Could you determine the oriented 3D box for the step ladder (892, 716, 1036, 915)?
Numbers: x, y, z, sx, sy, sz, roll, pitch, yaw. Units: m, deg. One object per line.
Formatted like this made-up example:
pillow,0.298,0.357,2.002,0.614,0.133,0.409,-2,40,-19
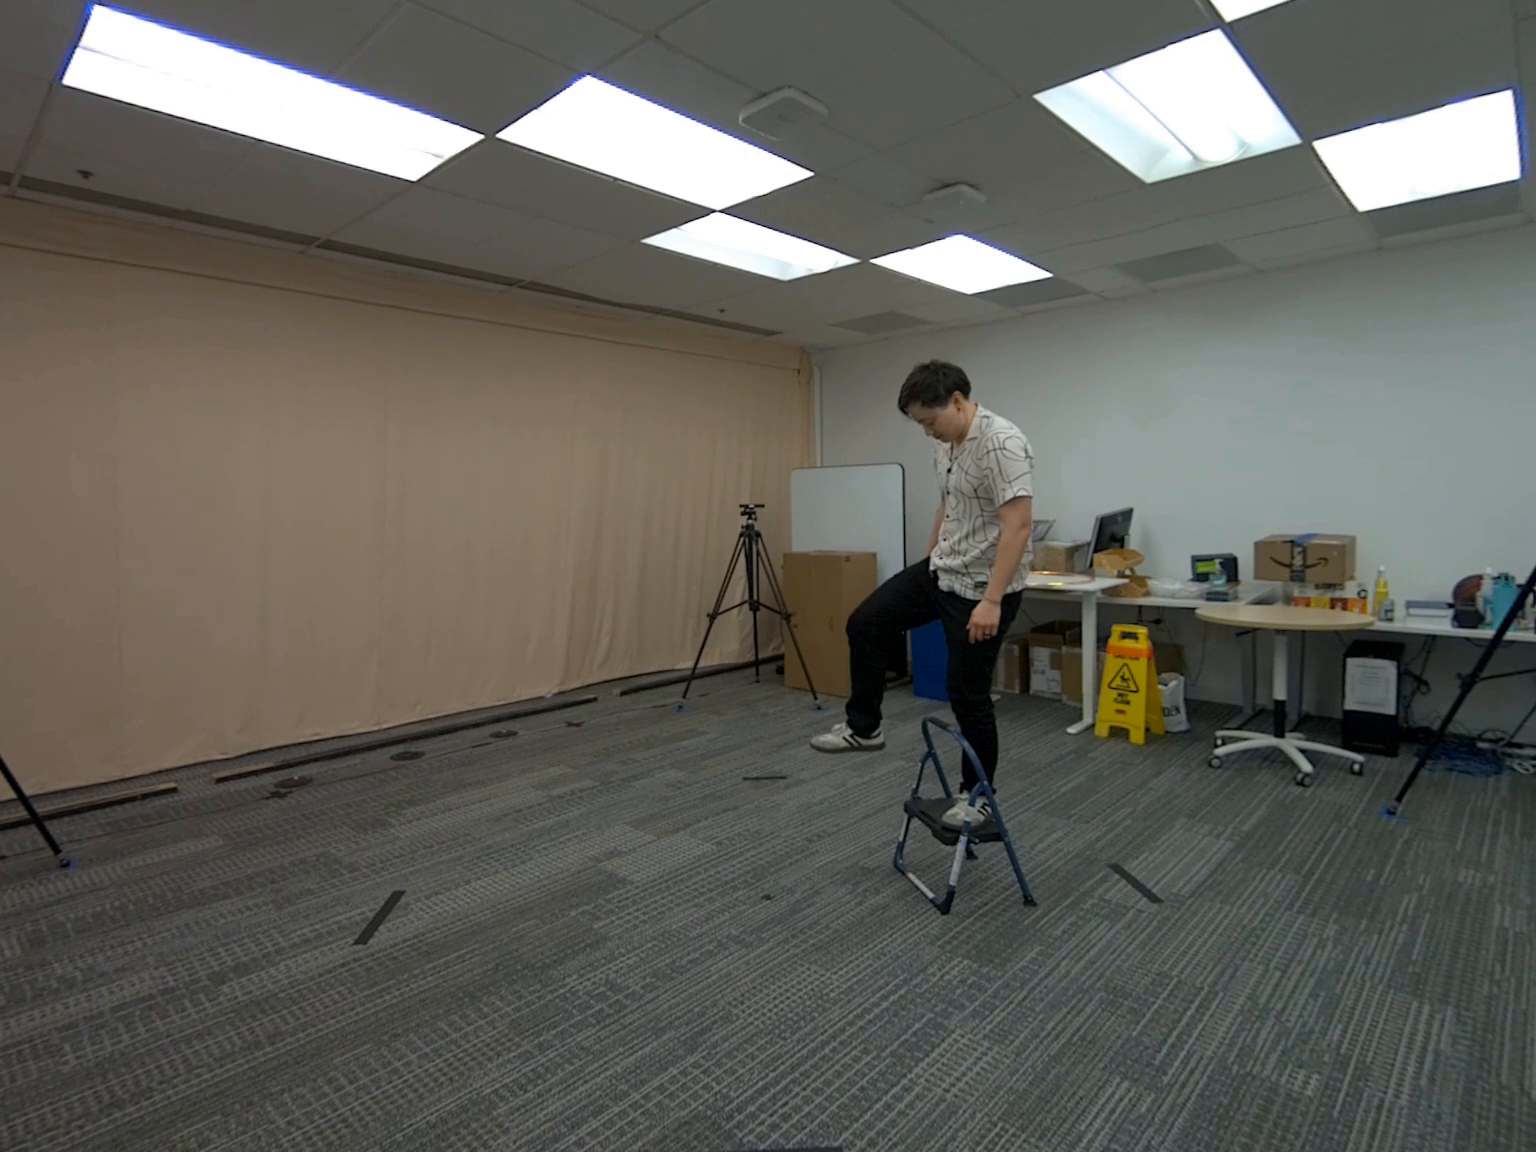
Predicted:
step ladder,0.701,0.824,3.049,0.344,0.605,0.438,-1,3,-15
